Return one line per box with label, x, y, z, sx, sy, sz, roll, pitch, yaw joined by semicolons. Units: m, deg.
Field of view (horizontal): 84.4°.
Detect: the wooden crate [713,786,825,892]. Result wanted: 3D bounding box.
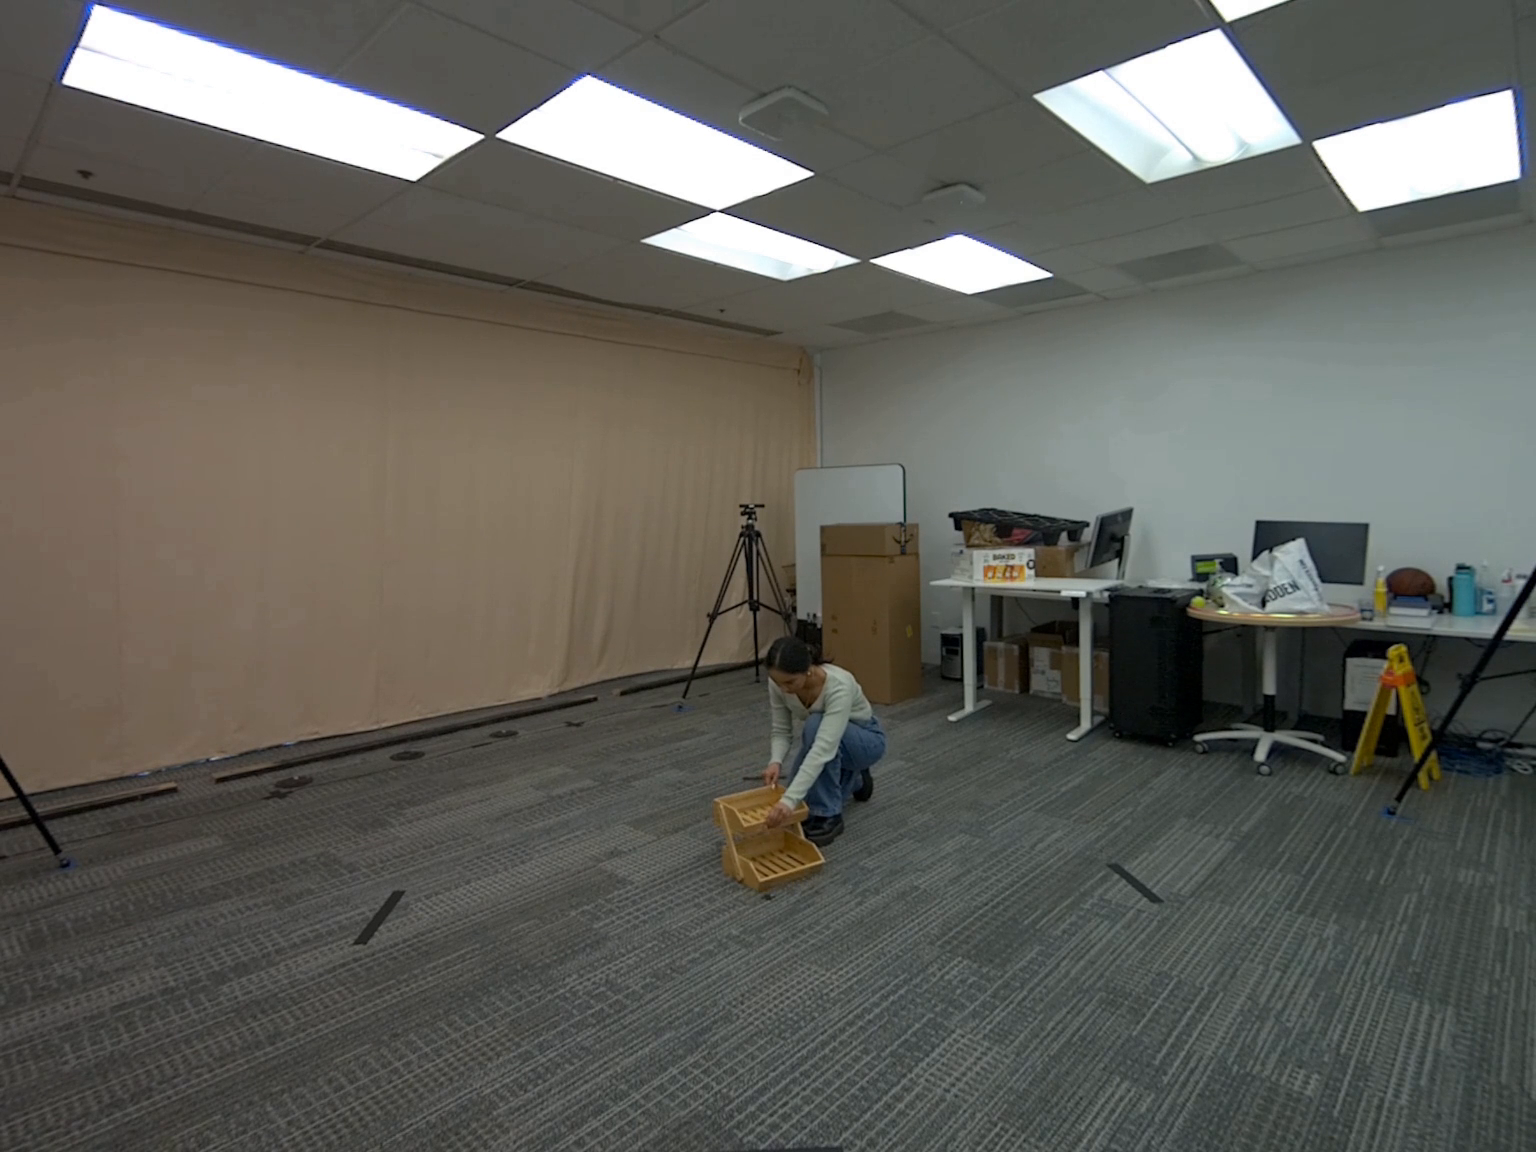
wooden crate;0.005;0.984;3.201;0.315;0.273;0.311;-4;5;-34
